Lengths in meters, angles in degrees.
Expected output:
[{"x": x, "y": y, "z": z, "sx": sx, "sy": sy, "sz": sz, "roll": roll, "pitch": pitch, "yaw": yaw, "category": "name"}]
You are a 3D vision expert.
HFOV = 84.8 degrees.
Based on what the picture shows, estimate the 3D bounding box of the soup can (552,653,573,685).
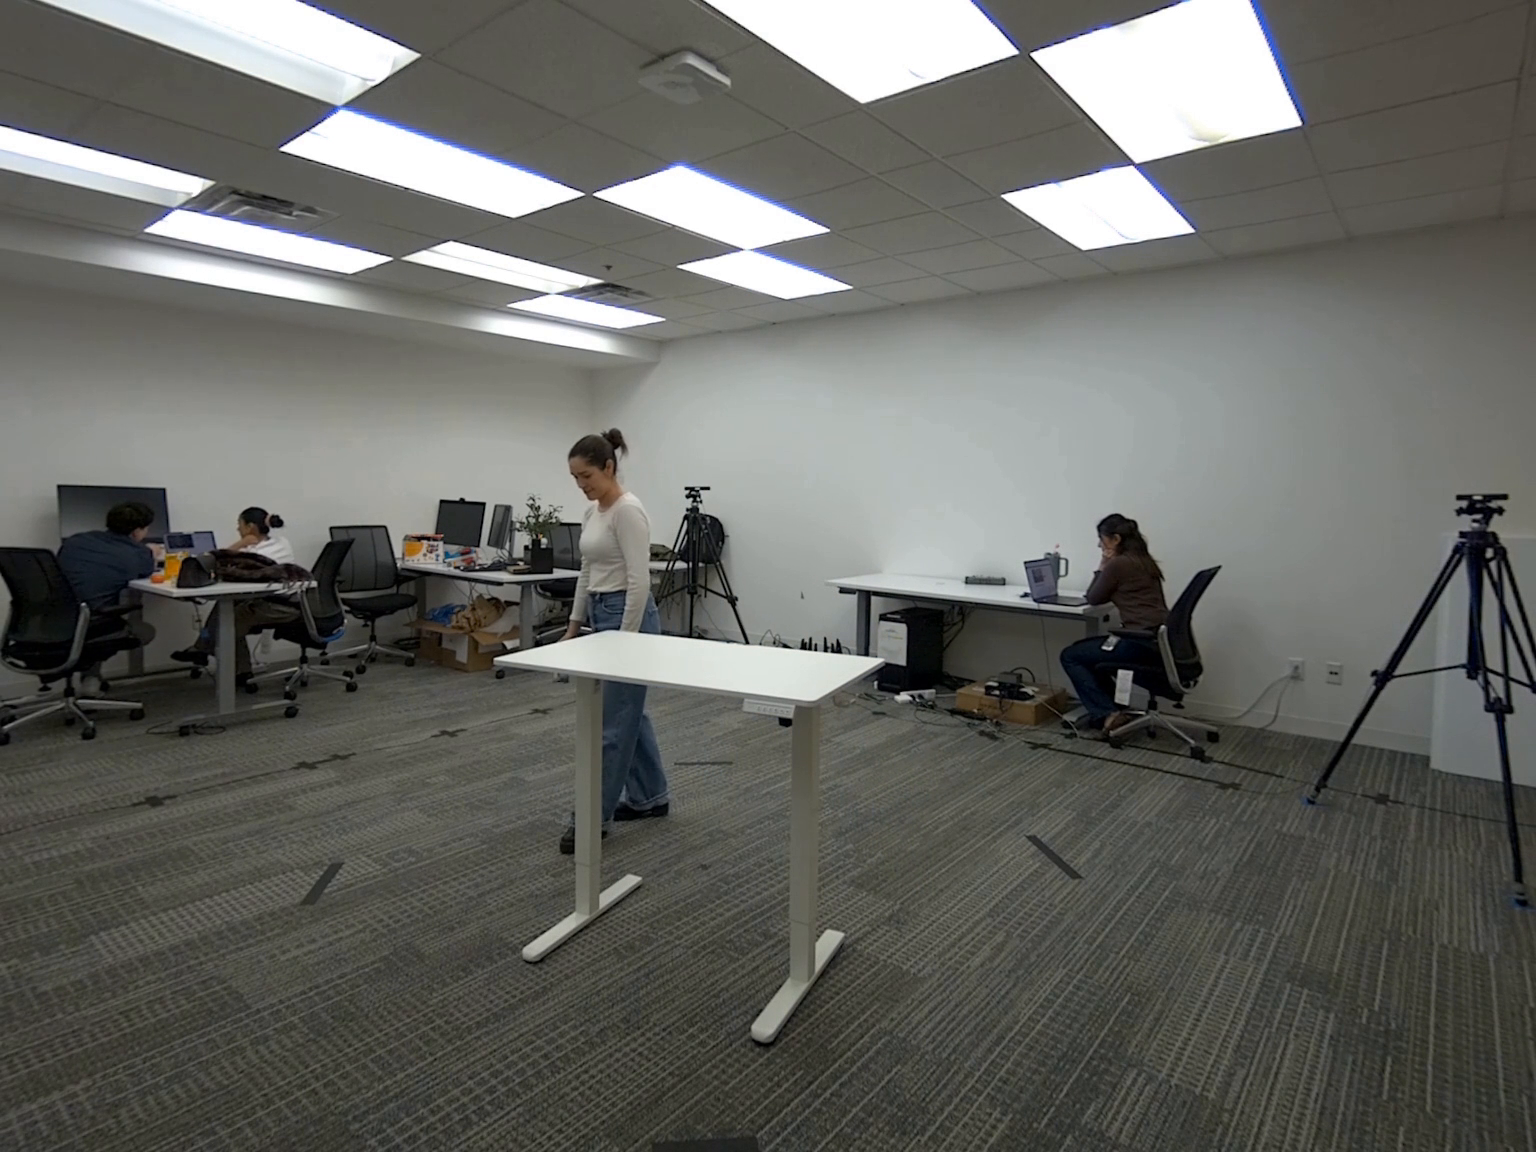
[{"x": -0.851, "y": 0.382, "z": 3.471, "sx": 0.067, "sy": 0.122, "sz": 0.067, "roll": 0, "pitch": -4, "yaw": -2, "category": "soup can"}]
